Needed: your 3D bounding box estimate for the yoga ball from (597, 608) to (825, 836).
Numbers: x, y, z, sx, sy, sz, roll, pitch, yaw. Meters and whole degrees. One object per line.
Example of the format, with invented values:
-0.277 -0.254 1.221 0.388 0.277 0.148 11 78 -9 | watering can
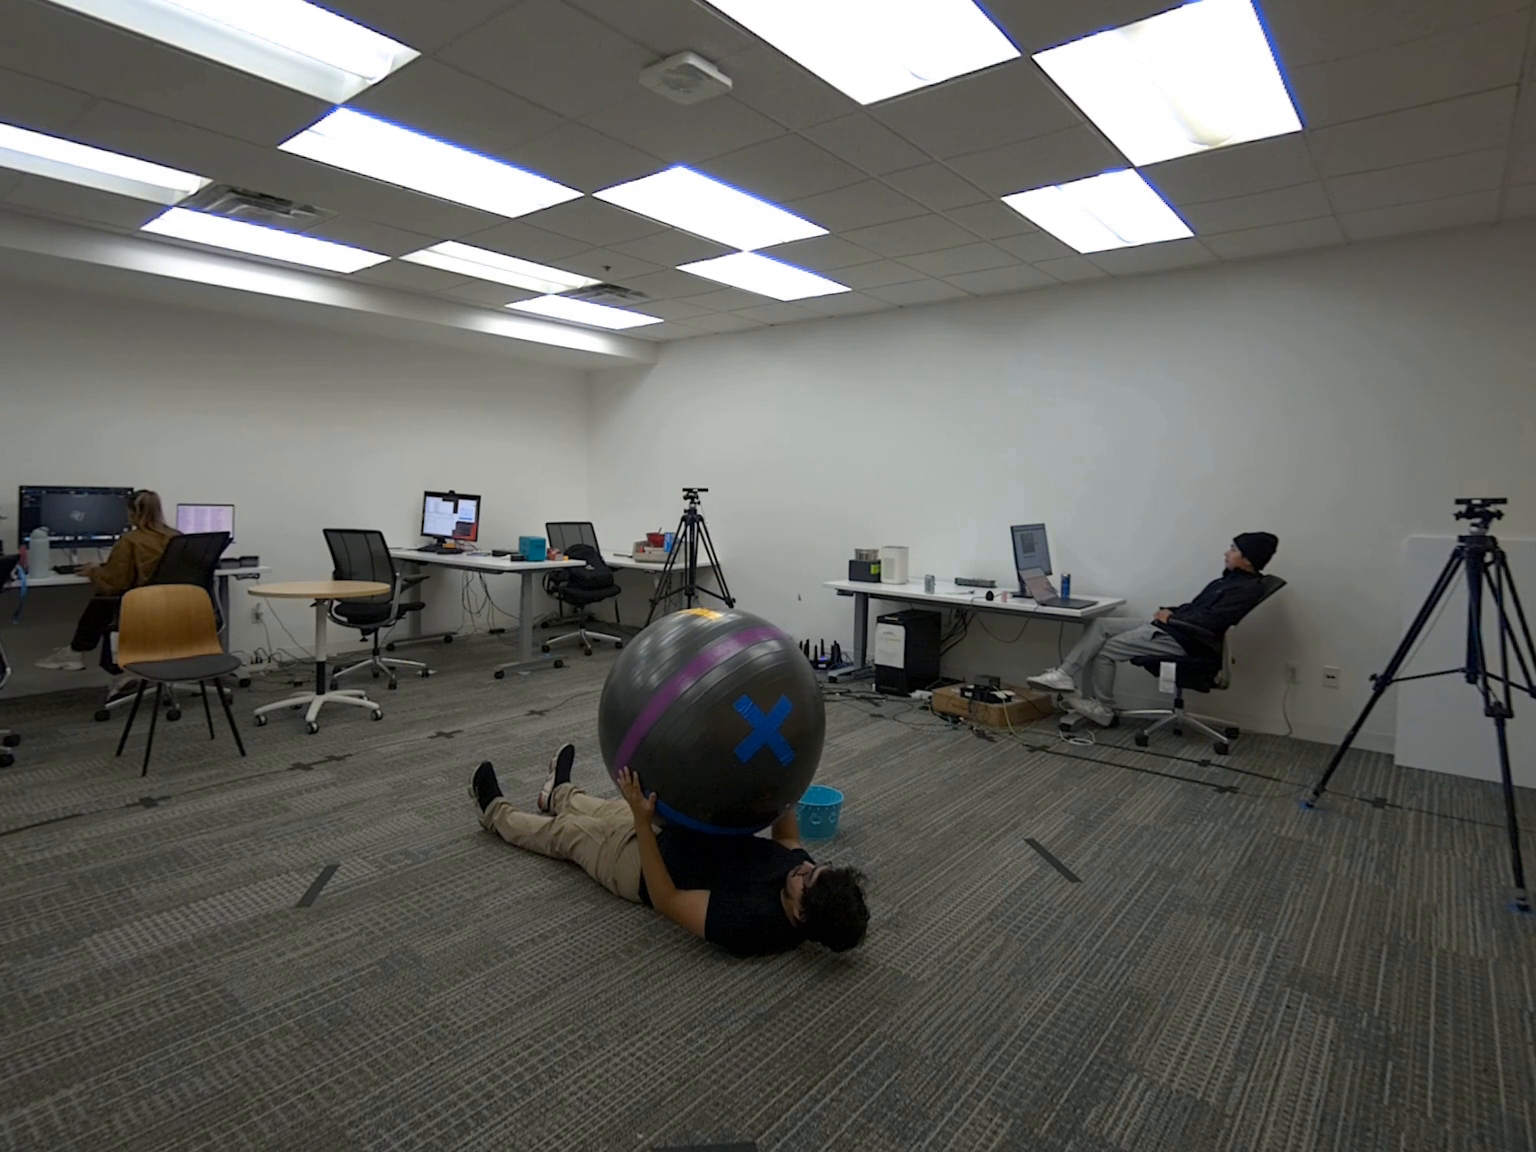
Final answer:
-0.195 0.484 2.837 0.757 0.756 0.761 0 4 -2 | yoga ball
